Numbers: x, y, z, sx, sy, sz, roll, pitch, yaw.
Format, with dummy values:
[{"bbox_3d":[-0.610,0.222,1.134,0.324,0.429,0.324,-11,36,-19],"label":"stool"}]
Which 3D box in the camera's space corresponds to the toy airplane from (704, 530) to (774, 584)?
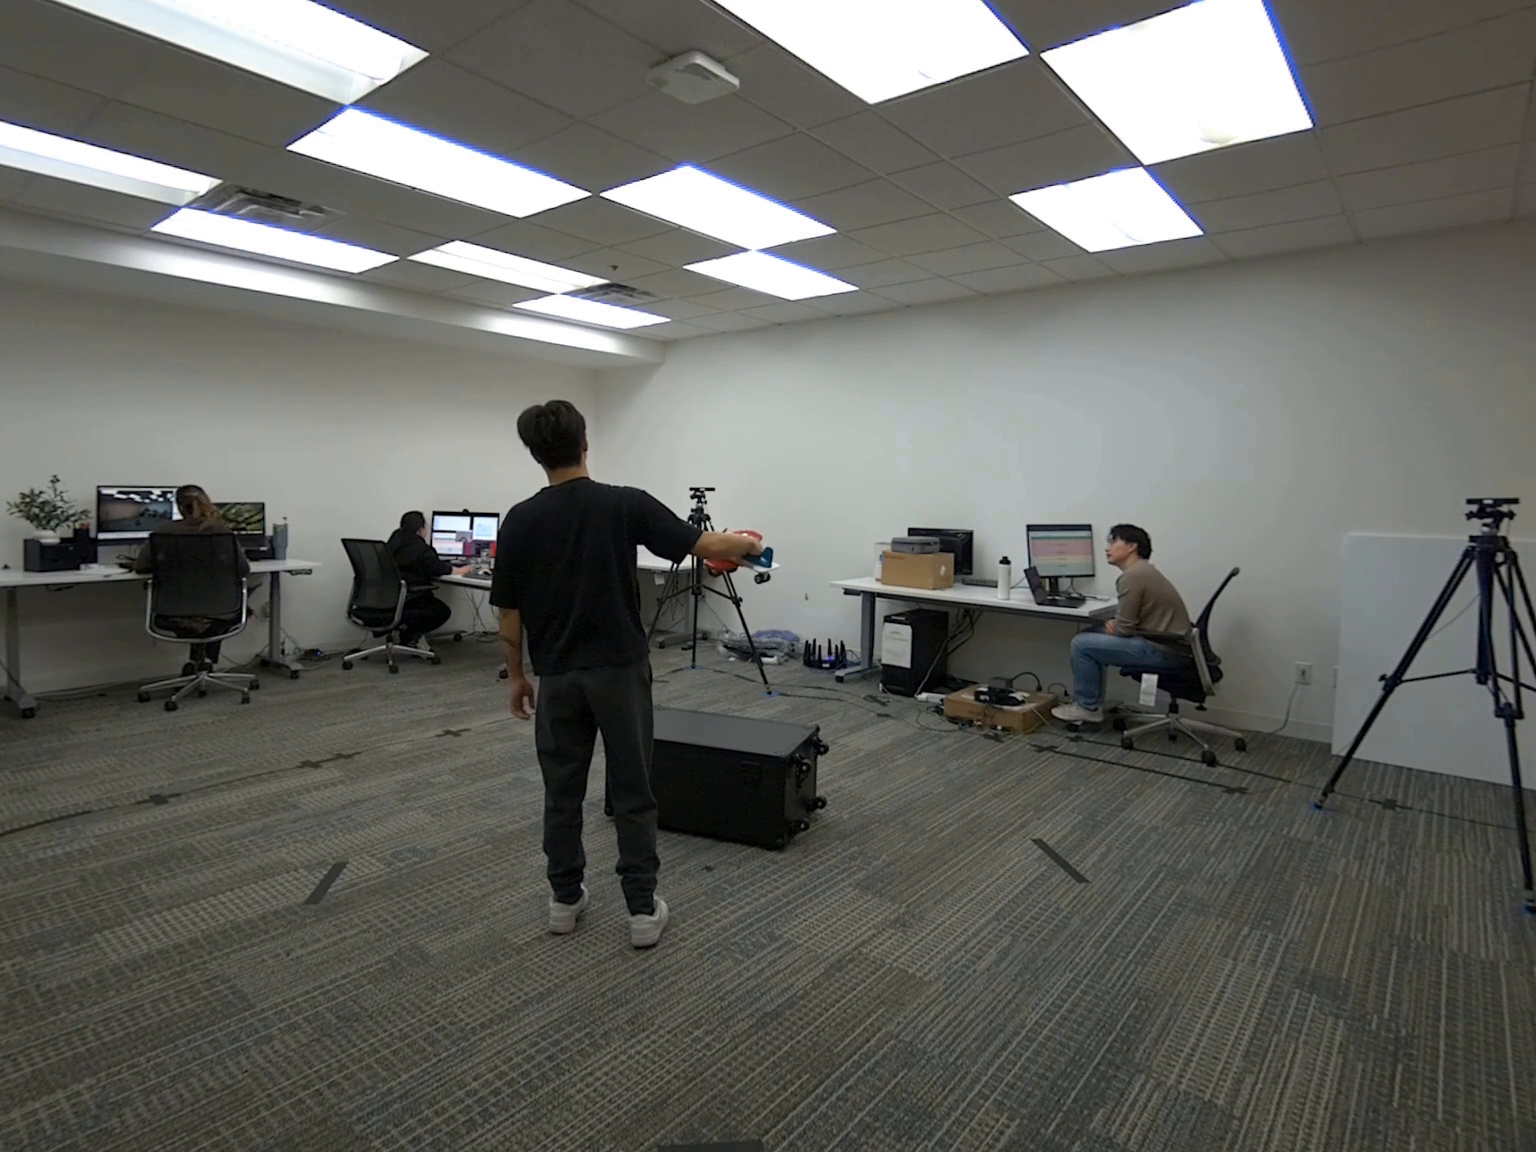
[{"bbox_3d":[-0.093,-0.078,2.982,0.262,0.154,0.251,1,14,10],"label":"toy airplane"}]
